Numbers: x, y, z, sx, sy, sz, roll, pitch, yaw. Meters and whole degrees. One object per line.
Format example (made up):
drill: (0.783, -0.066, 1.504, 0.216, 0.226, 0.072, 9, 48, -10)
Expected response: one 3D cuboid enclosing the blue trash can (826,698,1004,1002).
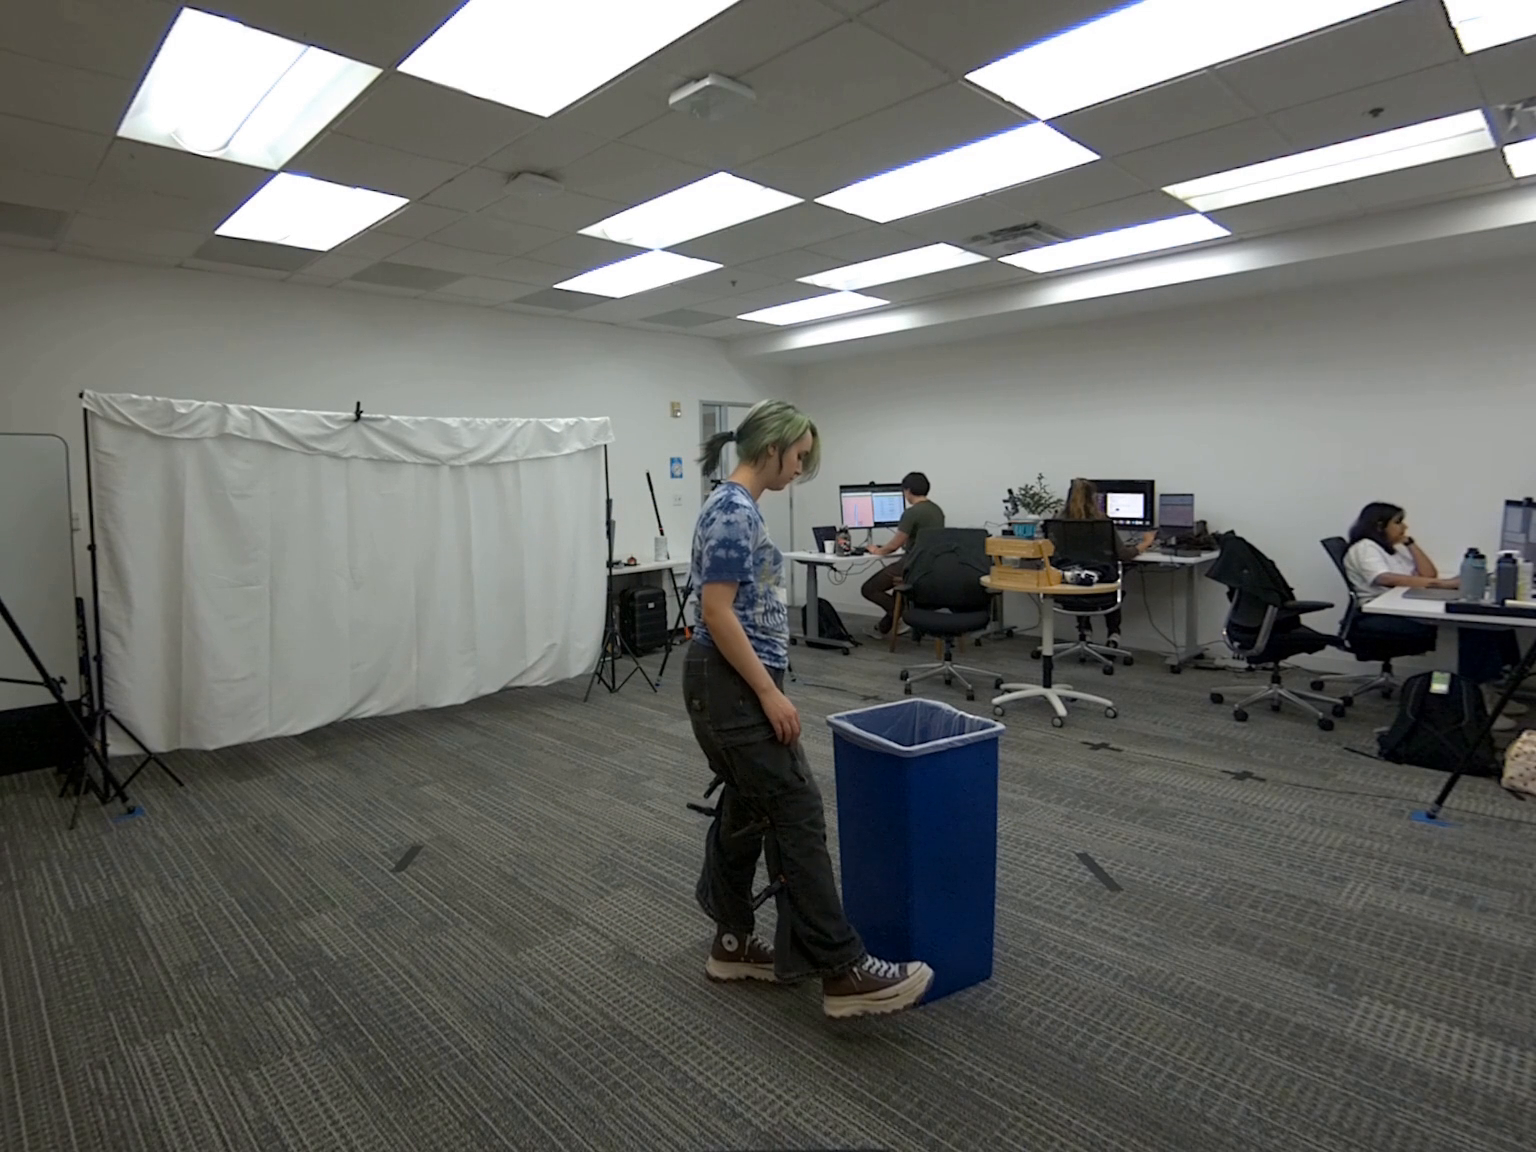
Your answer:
blue trash can: (0.420, 0.761, 2.411, 0.365, 0.711, 0.388, -4, 5, -30)
